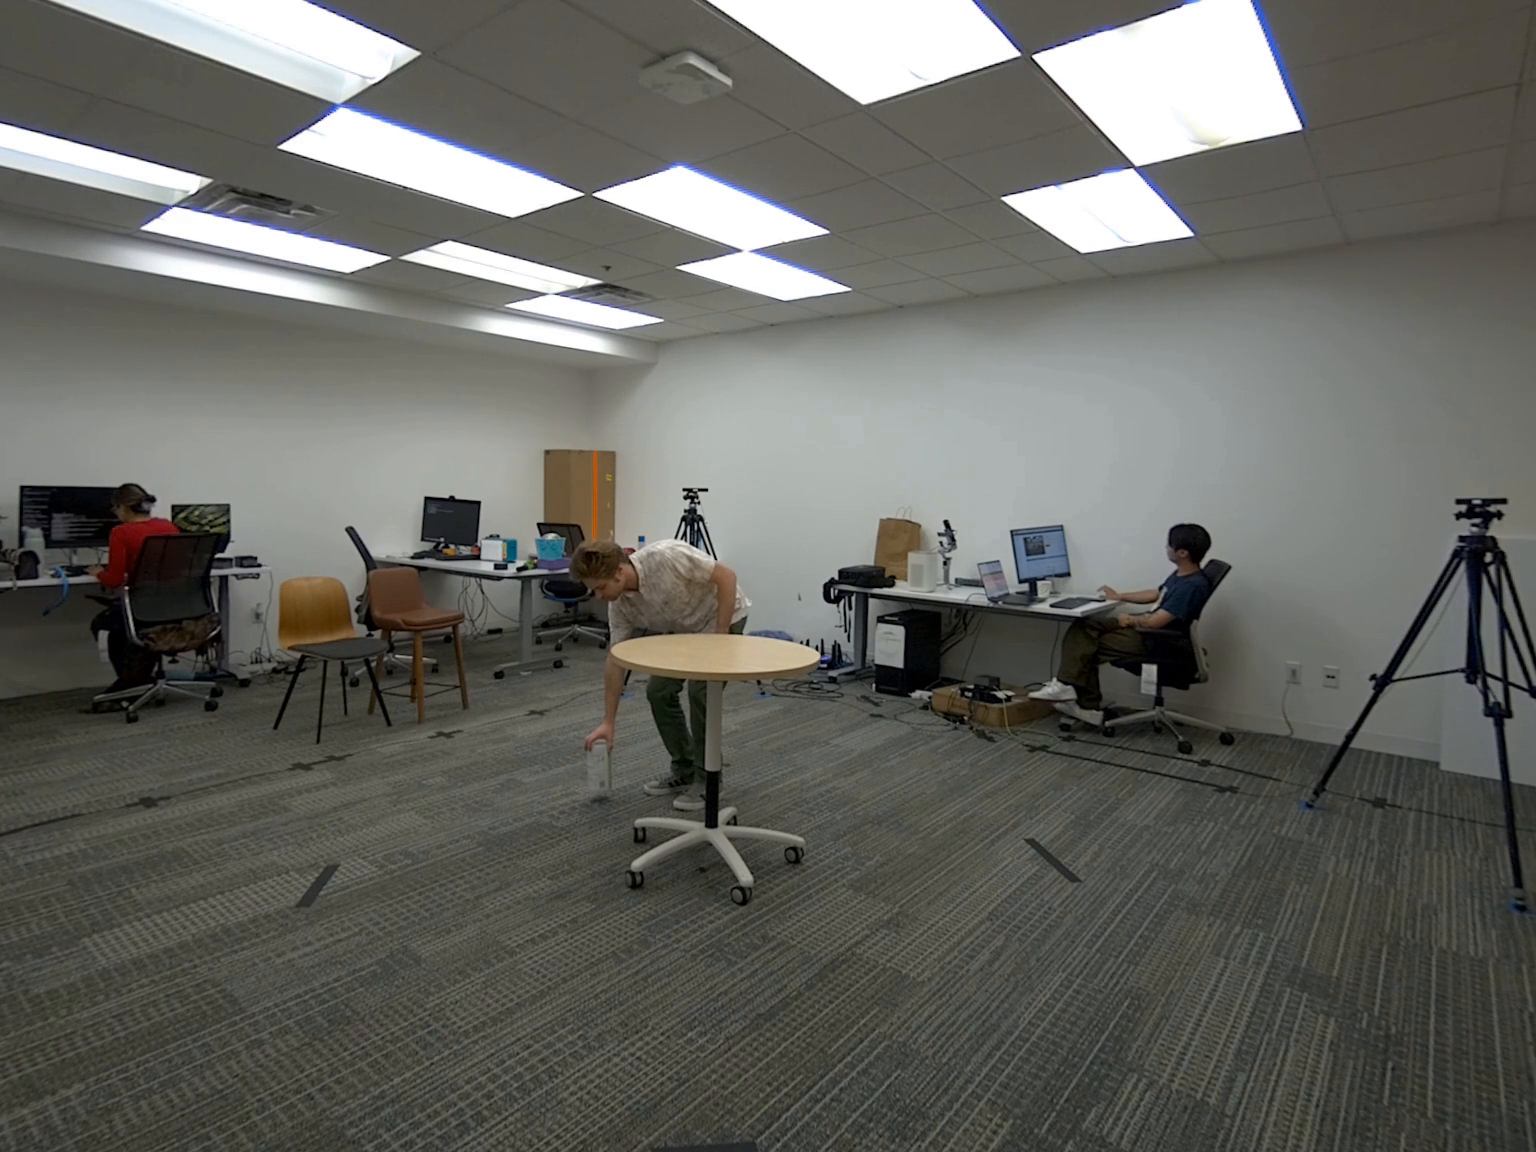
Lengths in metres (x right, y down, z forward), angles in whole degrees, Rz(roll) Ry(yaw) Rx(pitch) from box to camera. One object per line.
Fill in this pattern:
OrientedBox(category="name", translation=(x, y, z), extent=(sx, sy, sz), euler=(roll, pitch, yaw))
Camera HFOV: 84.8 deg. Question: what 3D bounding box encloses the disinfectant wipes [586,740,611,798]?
OrientedBox(category="disinfectant wipes", translation=(-0.769, 0.847, 3.796), extent=(0.118, 0.217, 0.118), euler=(0, 3, -2))
